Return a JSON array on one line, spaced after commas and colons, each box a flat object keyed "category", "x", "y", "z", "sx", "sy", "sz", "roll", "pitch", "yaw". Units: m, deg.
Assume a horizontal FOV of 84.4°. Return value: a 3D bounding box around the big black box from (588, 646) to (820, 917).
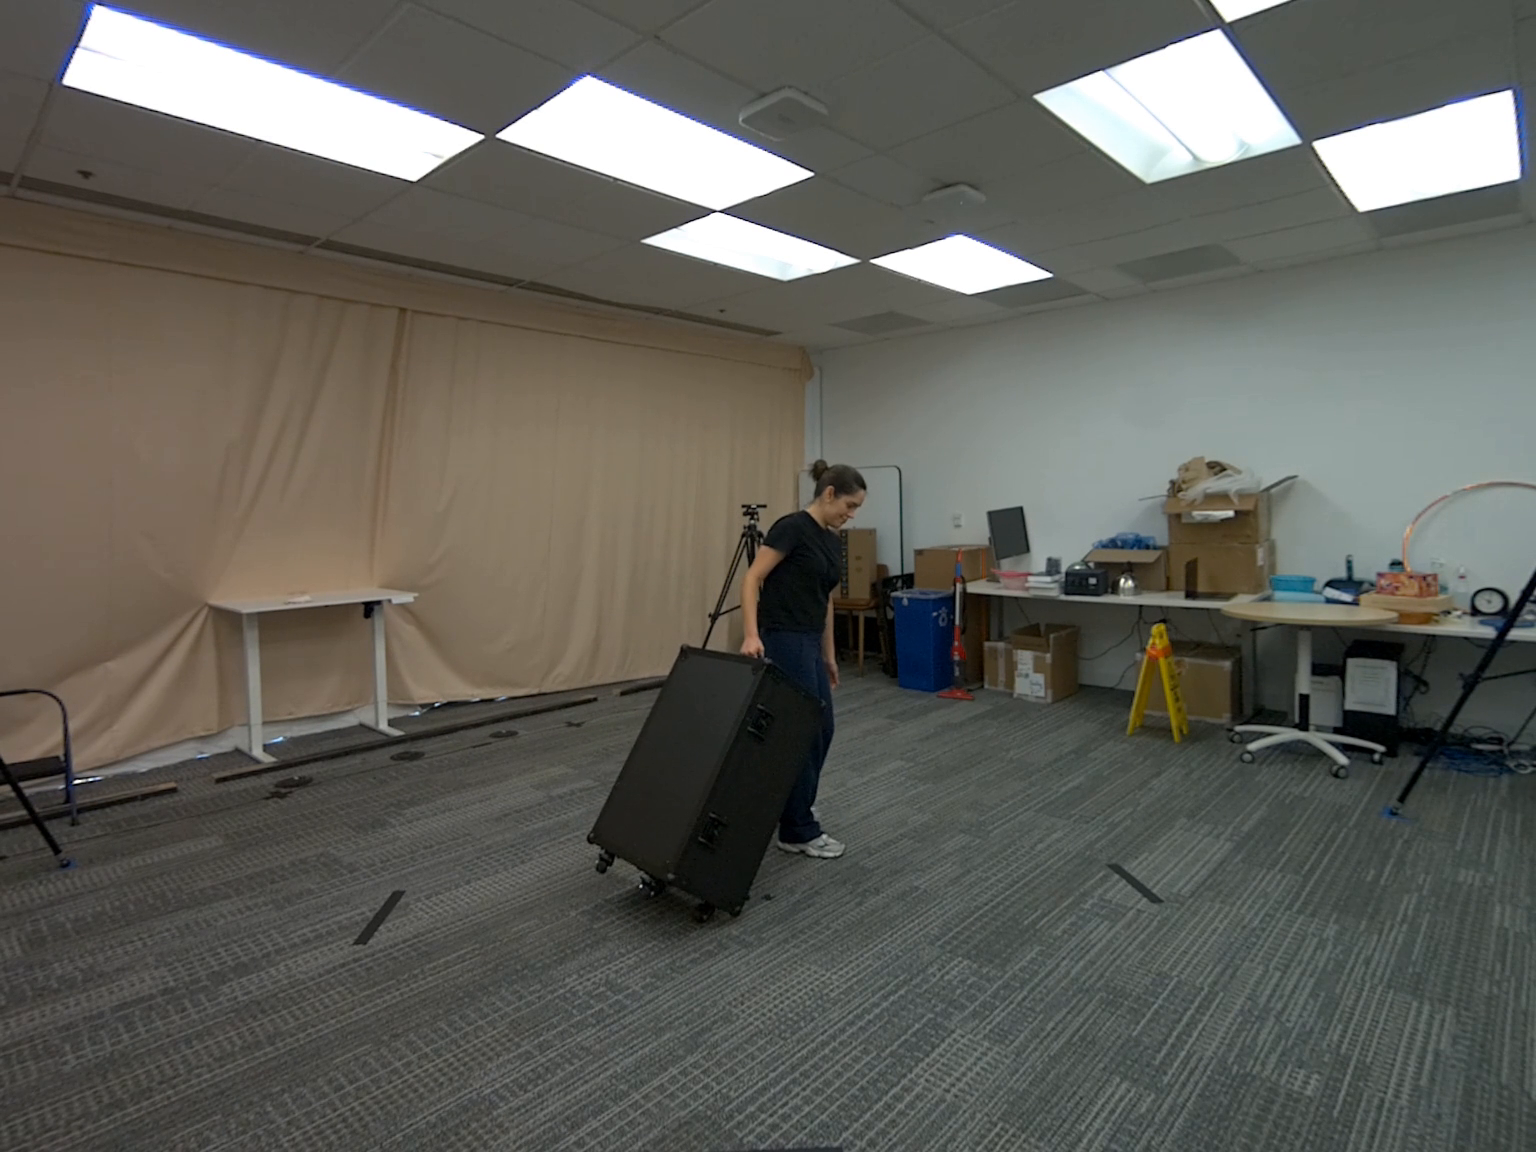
[{"category": "big black box", "x": -0.210, "y": 0.734, "z": 3.005, "sx": 0.538, "sy": 0.863, "sz": 0.383, "roll": 2, "pitch": -31, "yaw": 47}]
